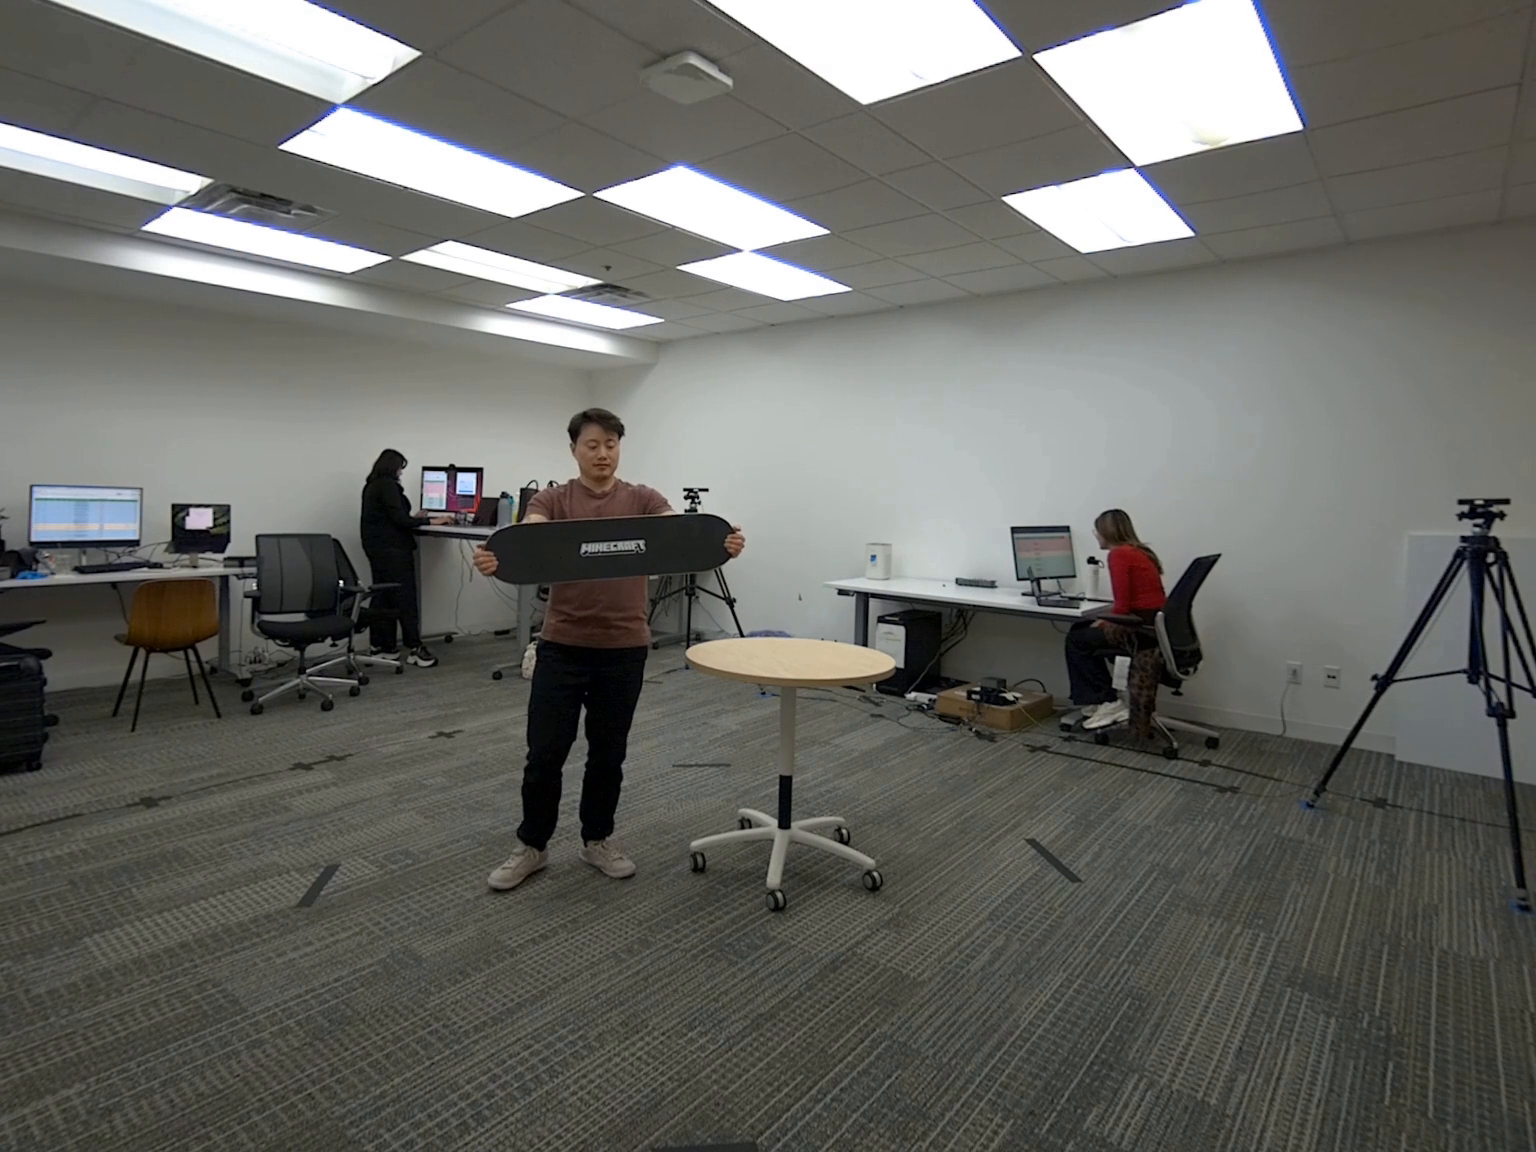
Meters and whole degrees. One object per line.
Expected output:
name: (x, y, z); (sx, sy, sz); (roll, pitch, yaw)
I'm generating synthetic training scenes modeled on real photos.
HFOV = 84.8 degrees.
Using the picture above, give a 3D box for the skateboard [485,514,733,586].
skateboard: (-0.500, -0.086, 2.703); (0.775, 0.194, 0.111); (-5, -5, -14)
